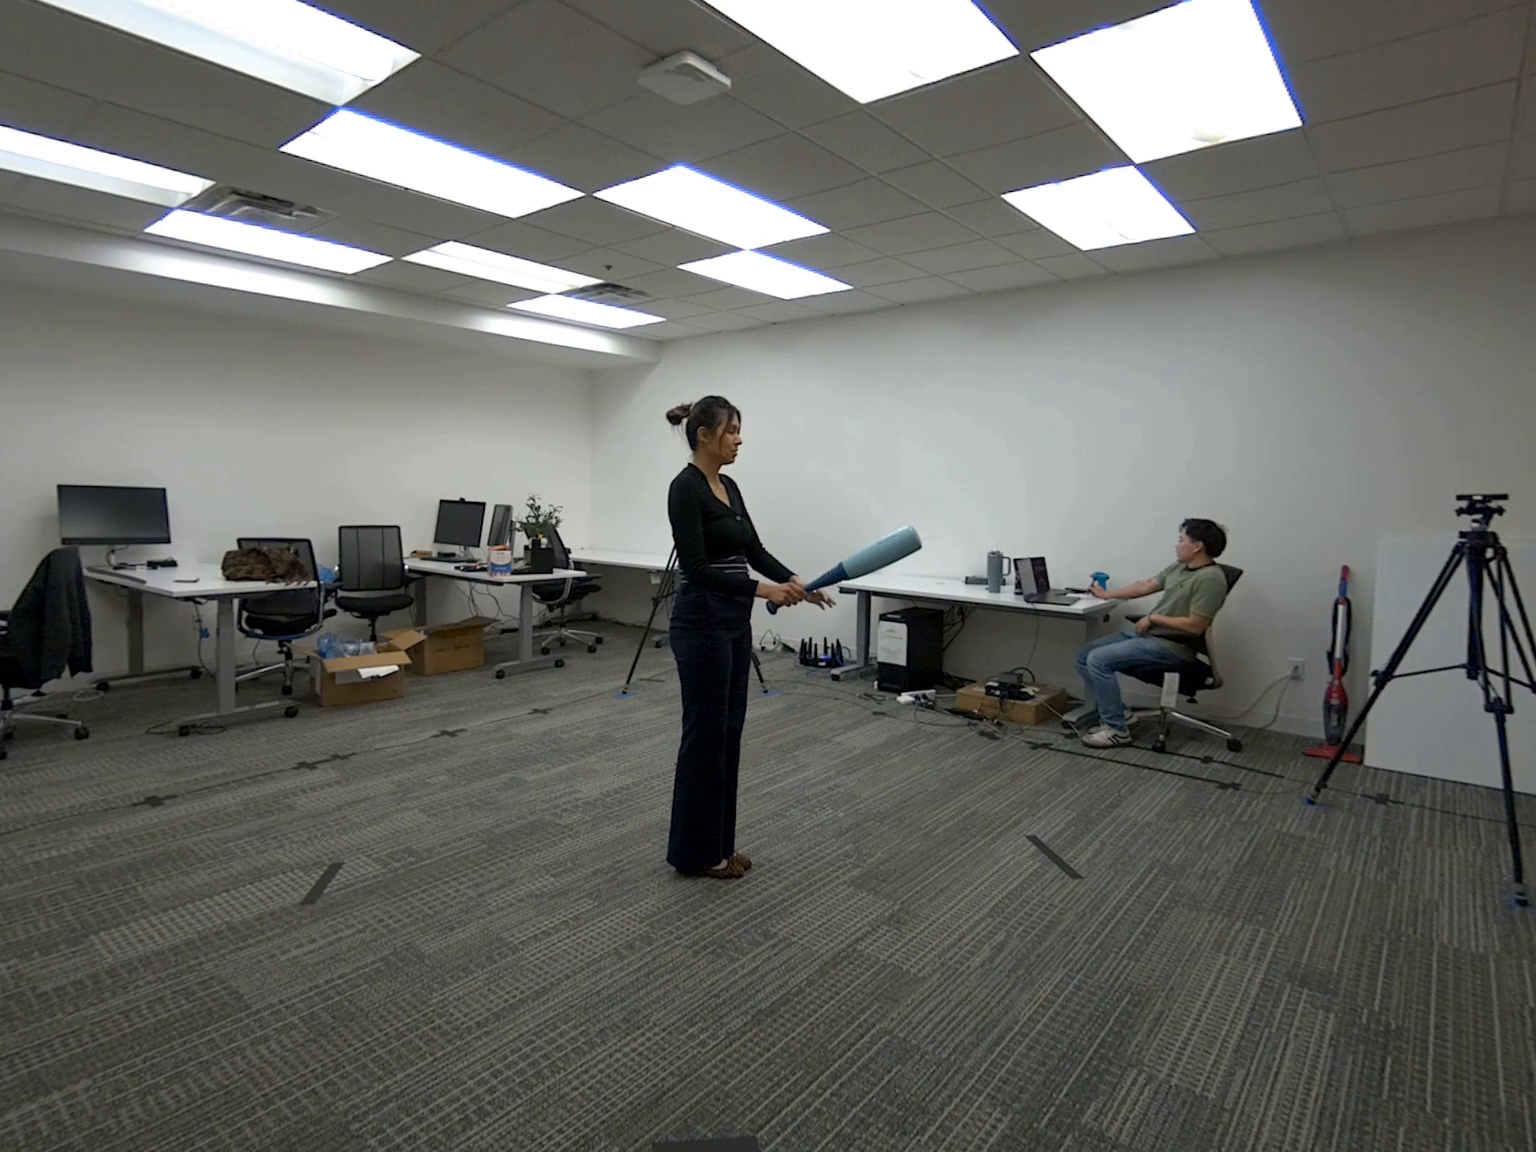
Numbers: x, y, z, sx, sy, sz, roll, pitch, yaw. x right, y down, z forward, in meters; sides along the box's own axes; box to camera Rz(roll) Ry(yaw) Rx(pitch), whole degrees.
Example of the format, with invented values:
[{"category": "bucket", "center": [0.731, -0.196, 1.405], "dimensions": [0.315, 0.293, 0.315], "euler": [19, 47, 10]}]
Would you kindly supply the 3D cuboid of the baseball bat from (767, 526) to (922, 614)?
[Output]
[{"category": "baseball bat", "center": [0.226, -0.006, 2.741], "dimensions": [0.547, 0.089, 0.088], "euler": [-26, -3, 15]}]
